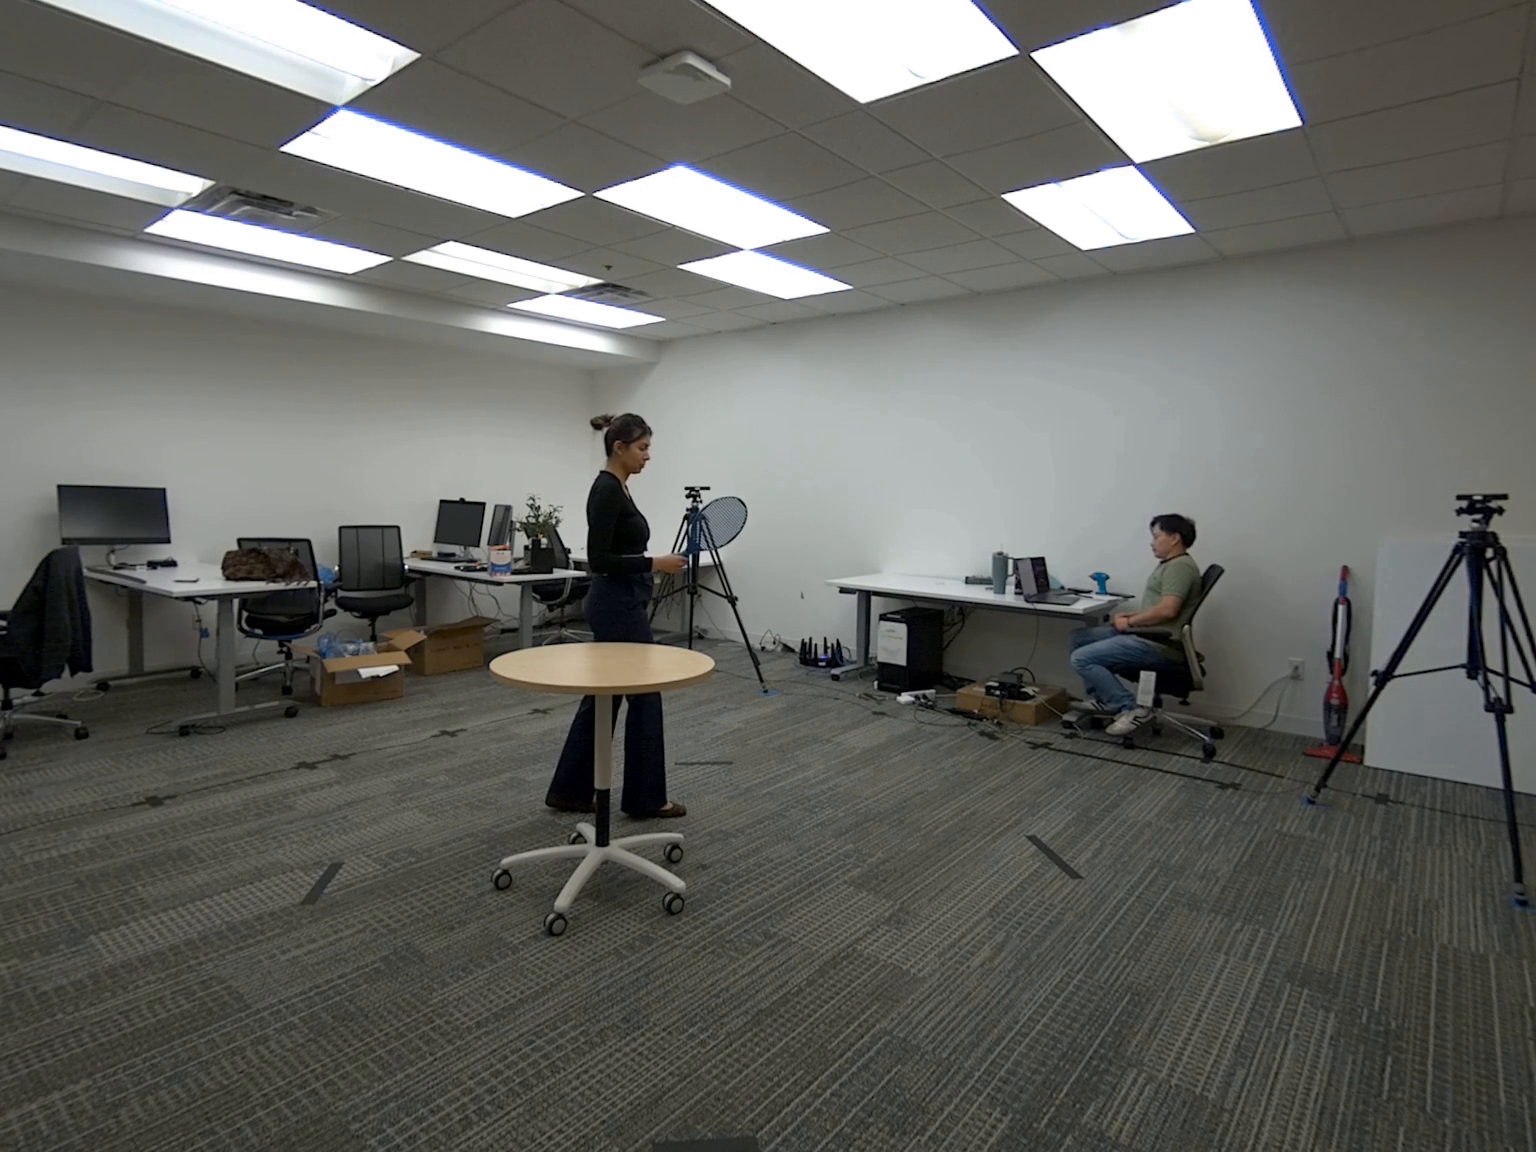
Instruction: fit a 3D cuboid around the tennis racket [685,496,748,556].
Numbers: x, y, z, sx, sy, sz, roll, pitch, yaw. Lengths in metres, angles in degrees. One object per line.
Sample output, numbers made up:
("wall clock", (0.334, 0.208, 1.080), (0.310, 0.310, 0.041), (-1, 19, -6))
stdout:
("tennis racket", (-0.263, -0.163, 3.459), (0.433, 0.206, 0.033), (-40, 31, -1))
